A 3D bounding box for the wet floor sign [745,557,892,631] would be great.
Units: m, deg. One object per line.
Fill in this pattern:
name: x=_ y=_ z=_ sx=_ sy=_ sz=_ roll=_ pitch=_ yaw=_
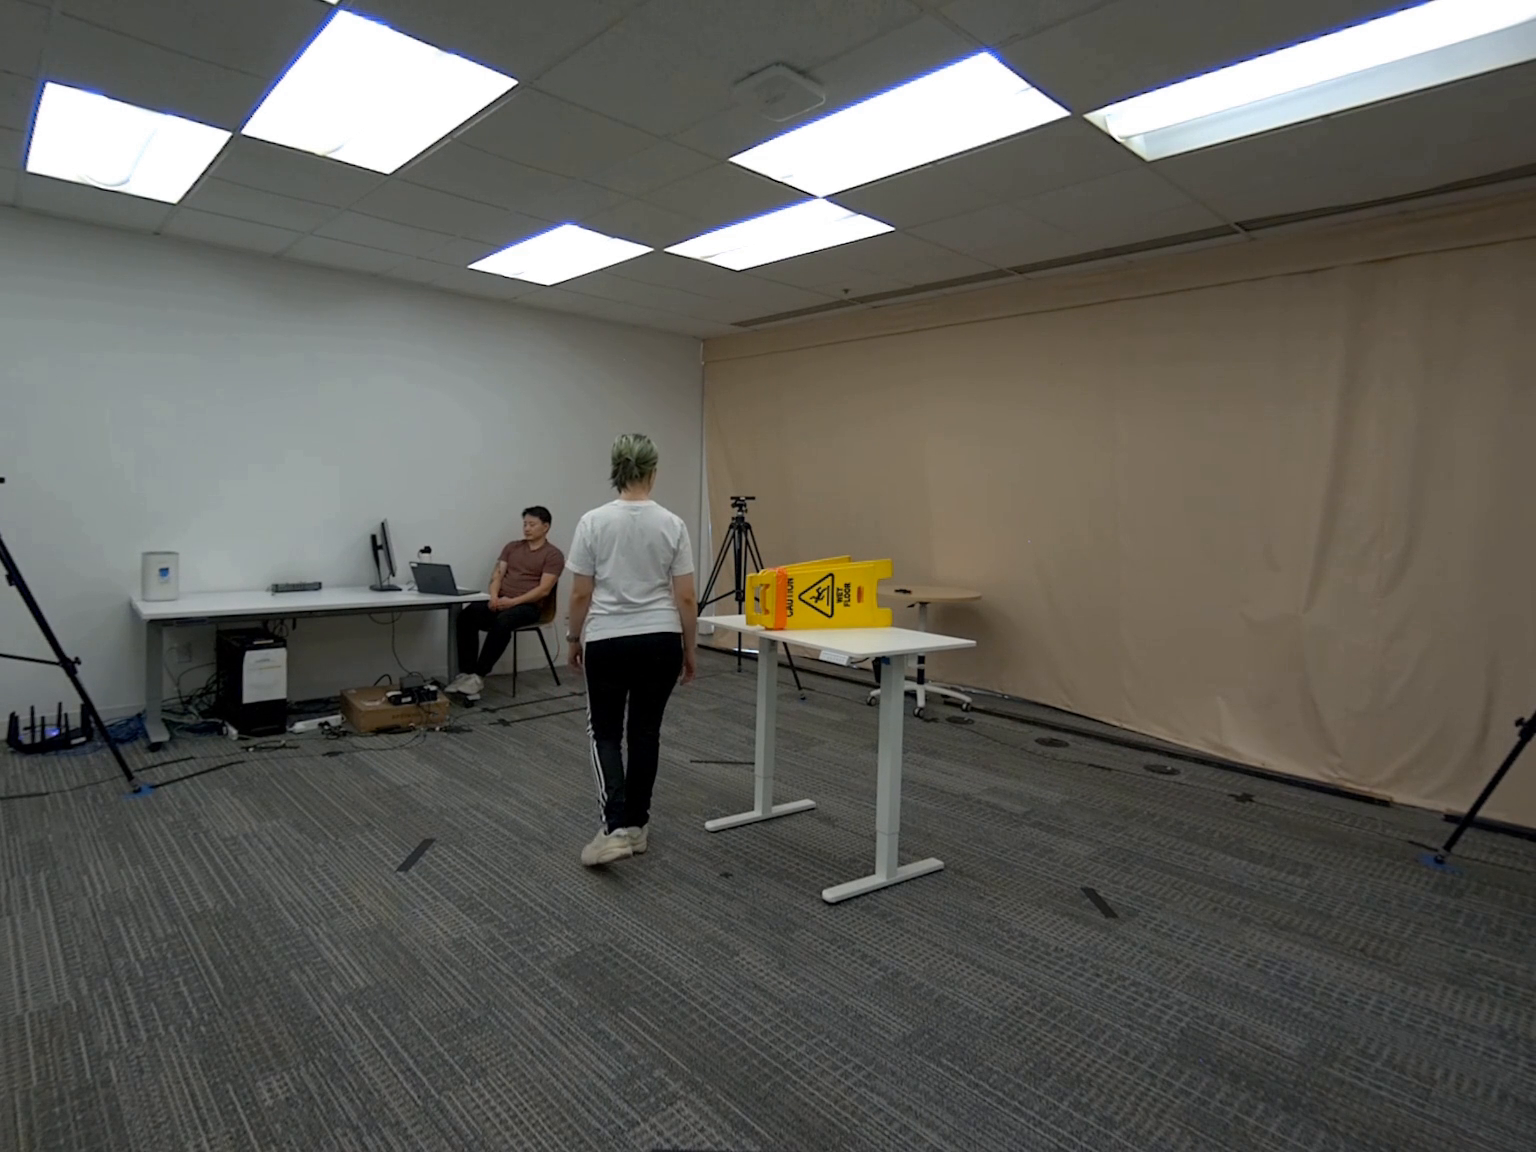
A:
wet floor sign: x=0.167 y=0.078 z=3.377 sx=0.632 sy=0.281 sz=0.297 roll=-4 pitch=5 yaw=-37
